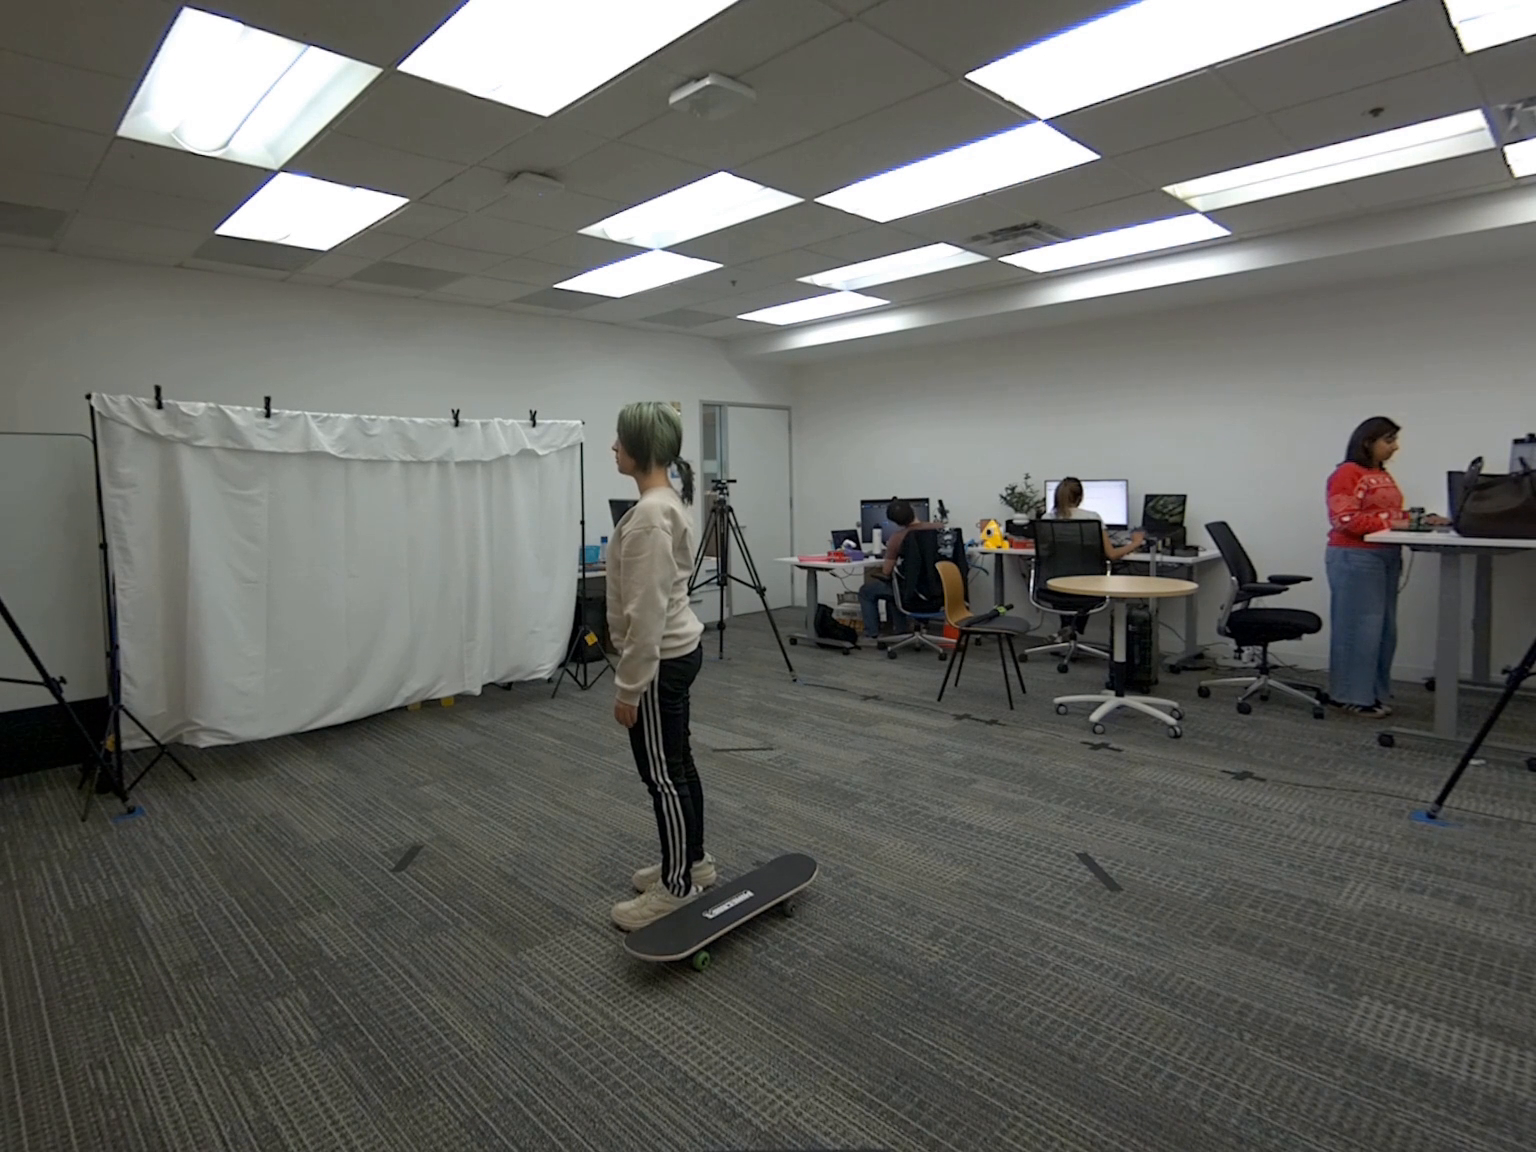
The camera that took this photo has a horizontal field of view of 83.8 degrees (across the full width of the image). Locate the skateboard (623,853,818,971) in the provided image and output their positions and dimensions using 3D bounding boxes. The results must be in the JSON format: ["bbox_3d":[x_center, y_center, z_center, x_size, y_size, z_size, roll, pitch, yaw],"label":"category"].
[{"bbox_3d":[-0.122,1.046,2.643,0.199,0.110,0.765,4,8,42],"label":"skateboard"}]
